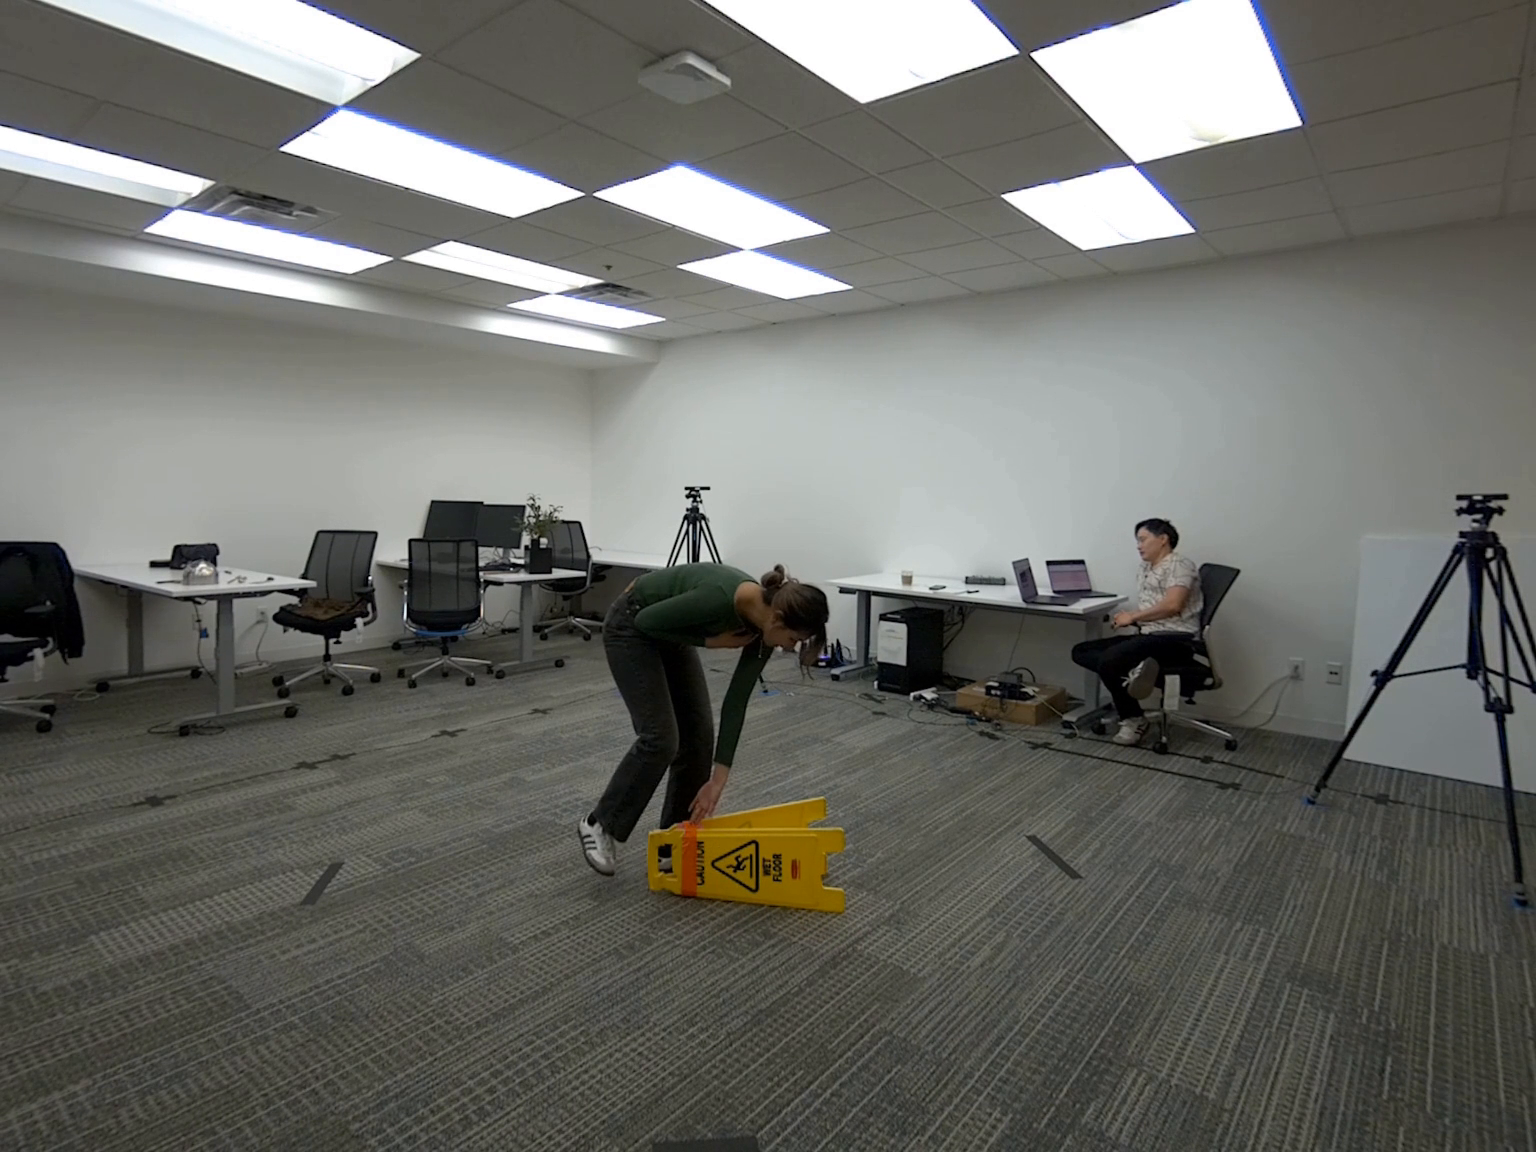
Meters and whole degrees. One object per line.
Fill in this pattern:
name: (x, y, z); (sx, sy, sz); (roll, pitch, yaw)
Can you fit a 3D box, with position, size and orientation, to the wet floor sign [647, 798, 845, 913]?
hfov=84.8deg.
wet floor sign: (-0.096, 0.954, 2.909); (0.643, 0.281, 0.292); (-2, 5, -5)
